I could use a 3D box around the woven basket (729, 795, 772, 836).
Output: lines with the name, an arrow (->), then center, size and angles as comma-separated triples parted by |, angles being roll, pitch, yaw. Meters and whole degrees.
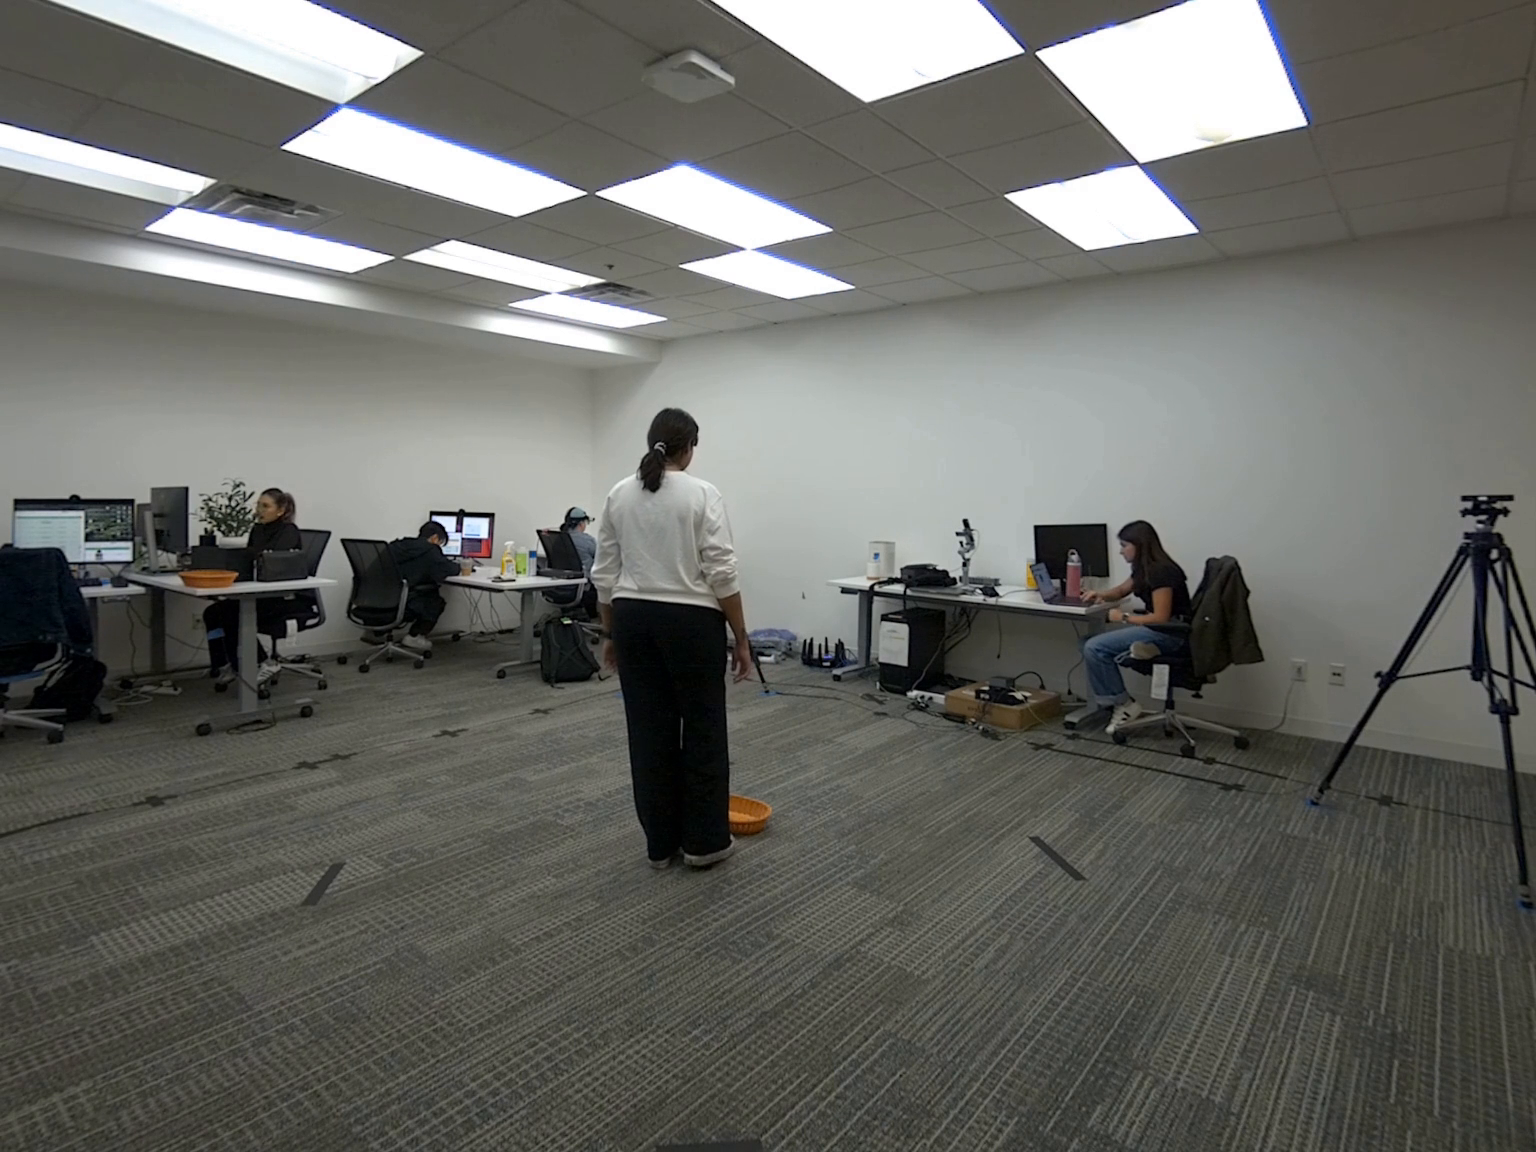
woven basket -> -0.157, 0.980, 3.517 | 0.361, 0.073, 0.246 | 5, 8, 29
